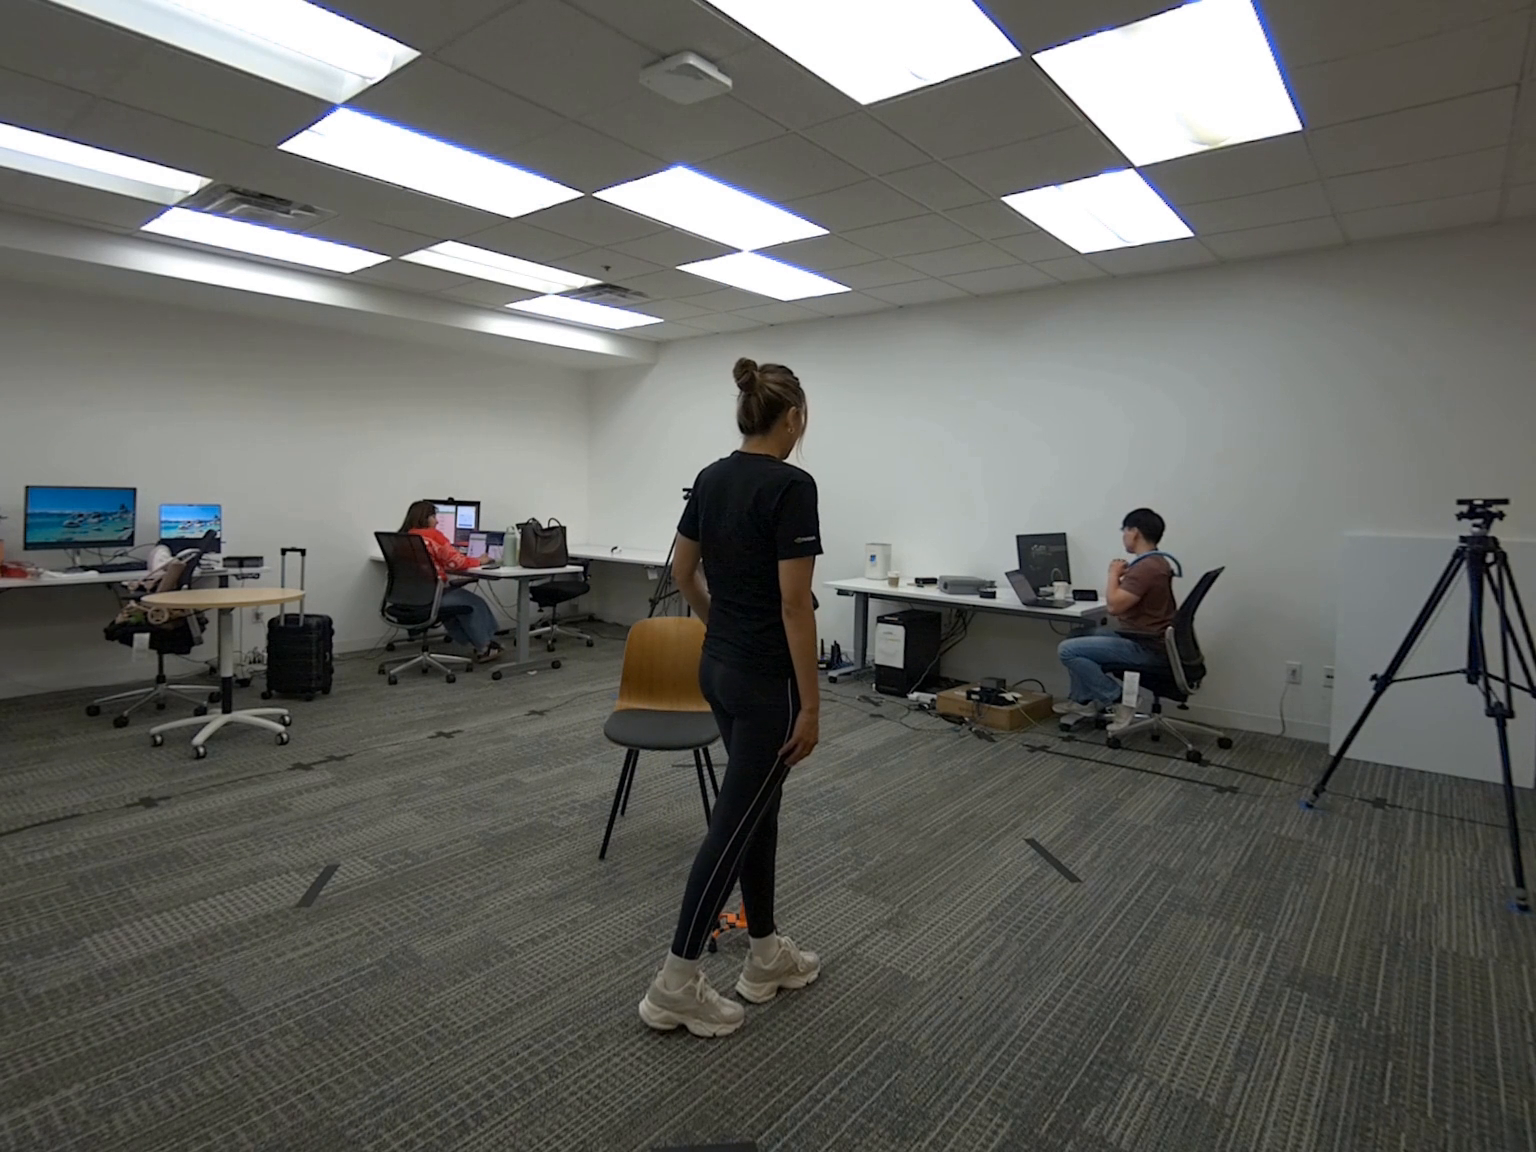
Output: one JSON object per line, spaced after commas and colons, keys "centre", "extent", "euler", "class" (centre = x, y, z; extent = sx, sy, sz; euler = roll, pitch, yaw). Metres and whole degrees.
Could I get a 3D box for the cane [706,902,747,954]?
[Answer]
{"centre": [-0.065, 0.663, 2.589], "extent": [0.206, 0.906, 0.152], "euler": [2, 2, 0], "class": "cane"}
